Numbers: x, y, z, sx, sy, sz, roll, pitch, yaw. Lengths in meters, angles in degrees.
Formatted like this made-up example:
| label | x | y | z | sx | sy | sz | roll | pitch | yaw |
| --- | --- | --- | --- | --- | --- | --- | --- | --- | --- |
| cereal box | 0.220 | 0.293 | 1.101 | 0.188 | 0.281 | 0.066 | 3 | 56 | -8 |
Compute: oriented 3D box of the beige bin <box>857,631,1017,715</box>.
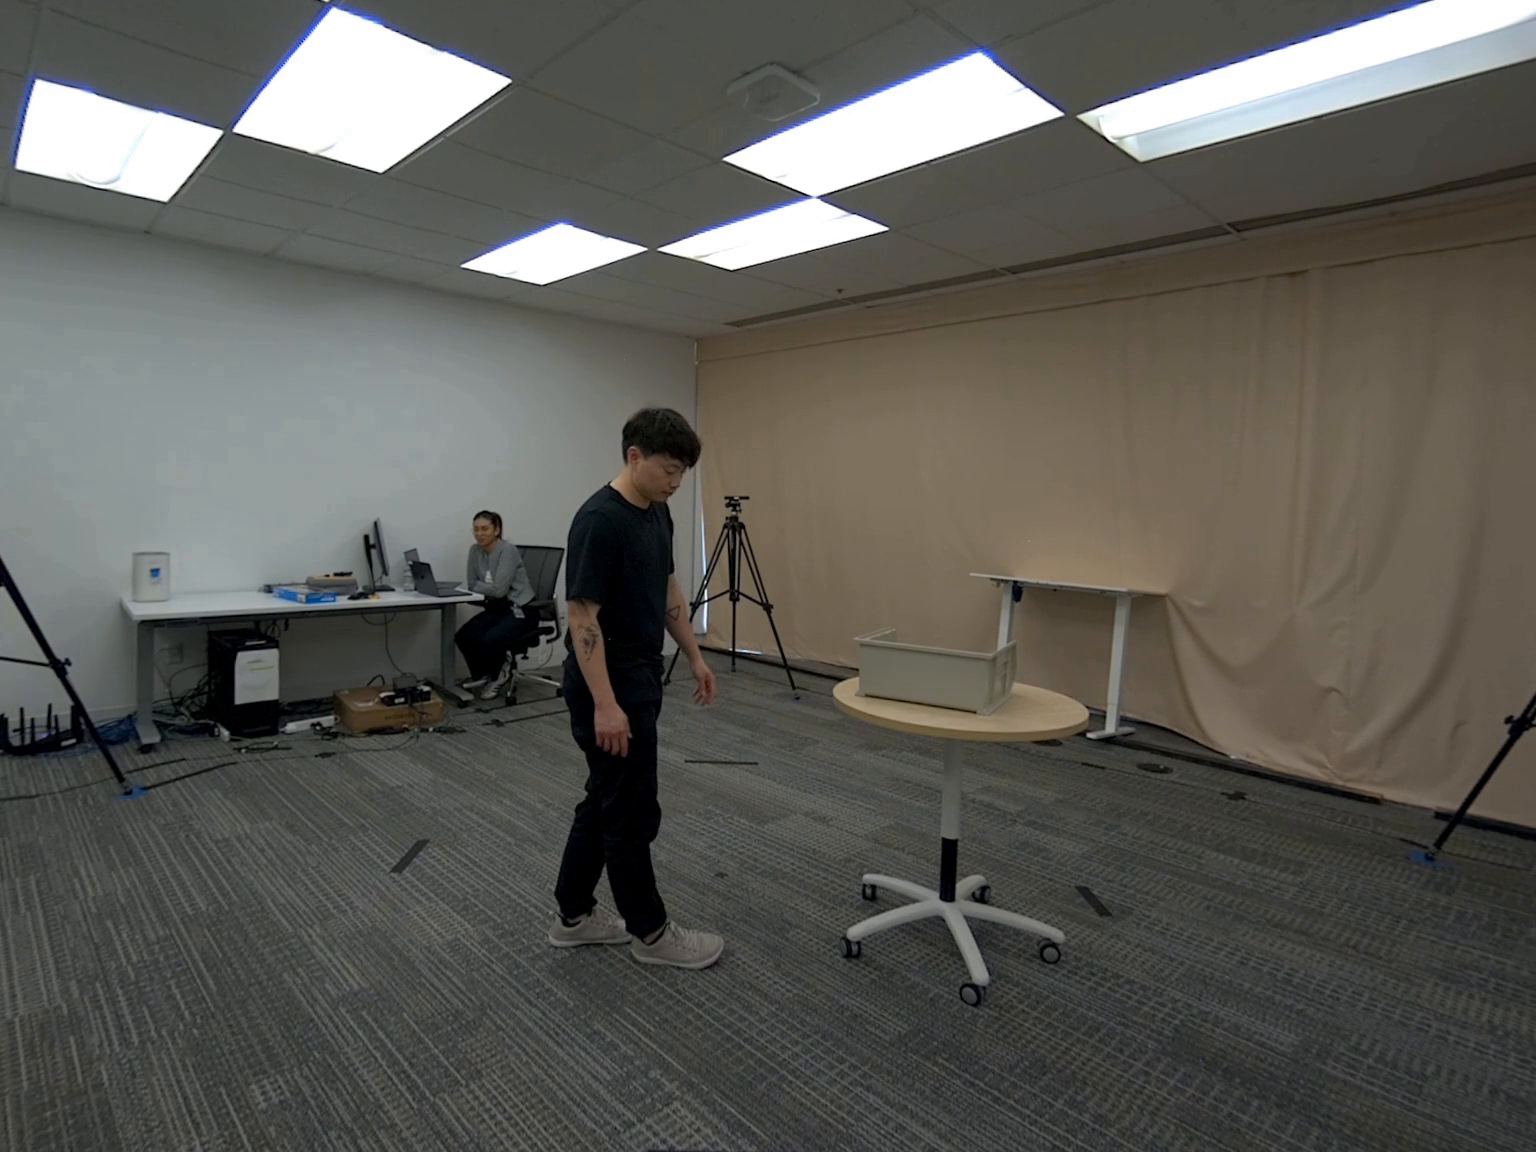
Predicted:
| label | x | y | z | sx | sy | sz | roll | pitch | yaw |
| --- | --- | --- | --- | --- | --- | --- | --- | --- | --- |
| beige bin | 0.530 | 0.292 | 2.664 | 0.432 | 0.188 | 0.371 | 6 | 8 | 29 |
